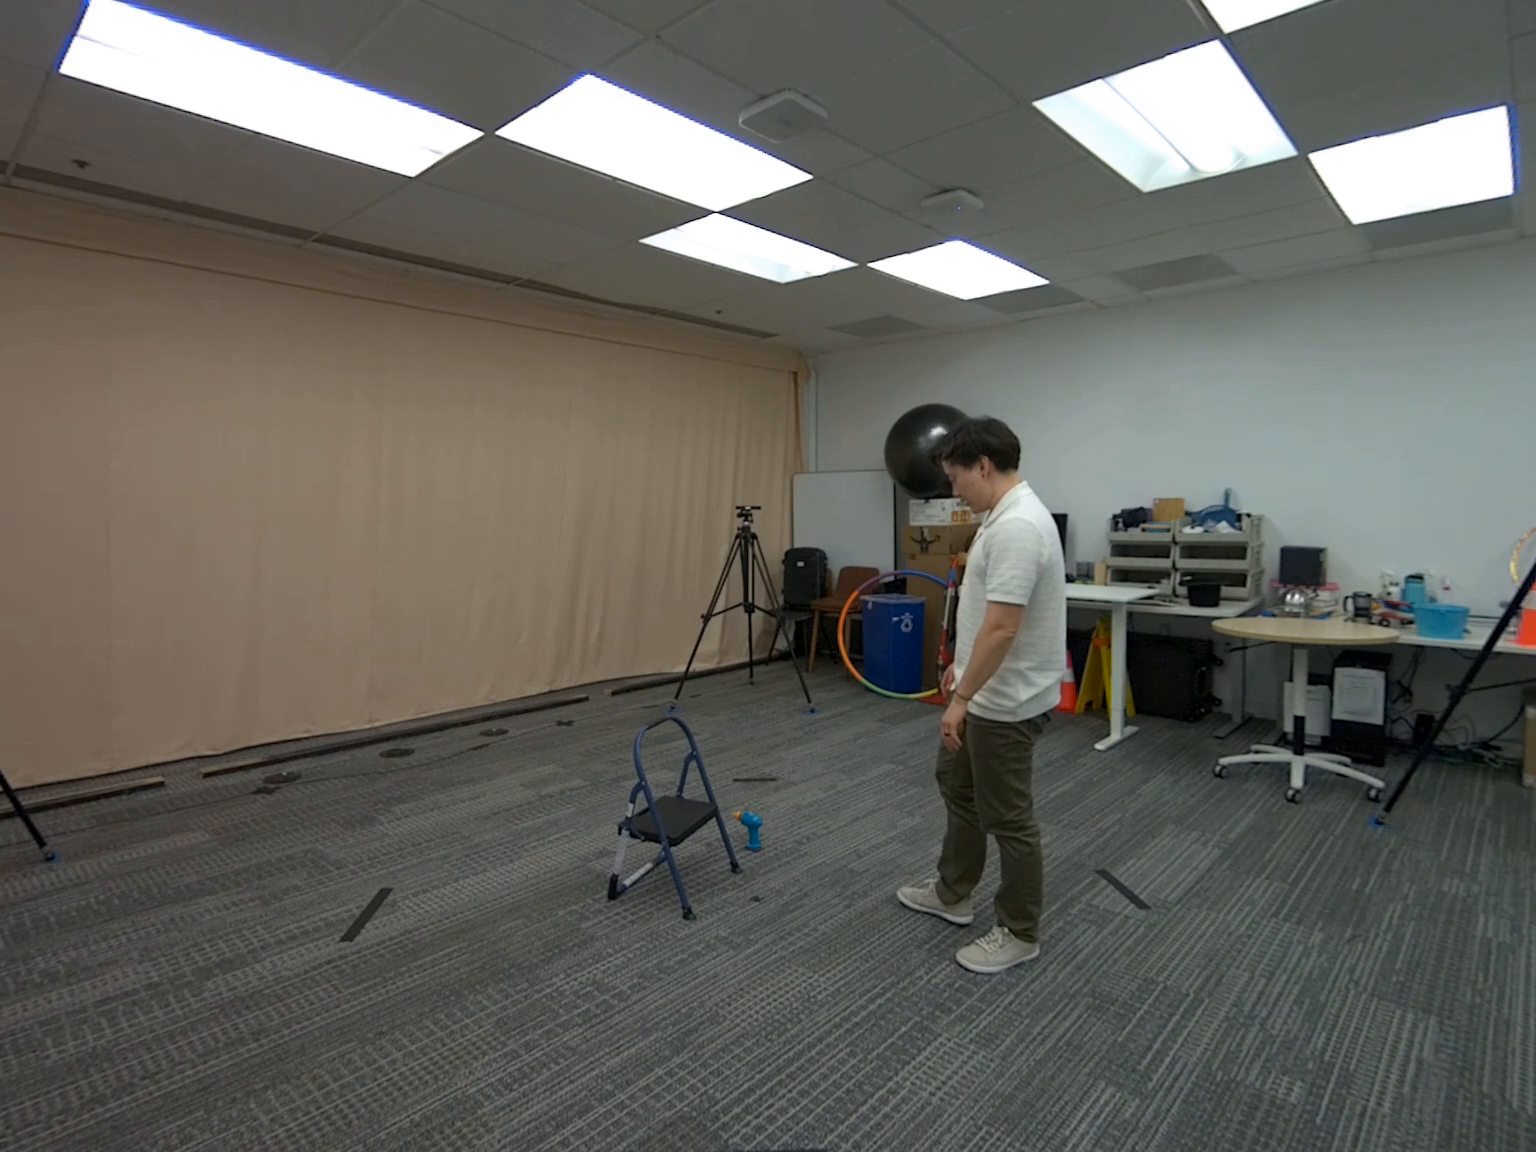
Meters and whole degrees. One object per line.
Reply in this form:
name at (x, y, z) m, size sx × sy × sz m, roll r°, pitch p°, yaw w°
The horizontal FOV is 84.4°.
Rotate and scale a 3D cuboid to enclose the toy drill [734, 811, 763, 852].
toy drill at (-0.083, 1.032, 3.441) m, size 0.059 × 0.146 × 0.175 m, roll -5°, pitch 5°, yaw -44°
